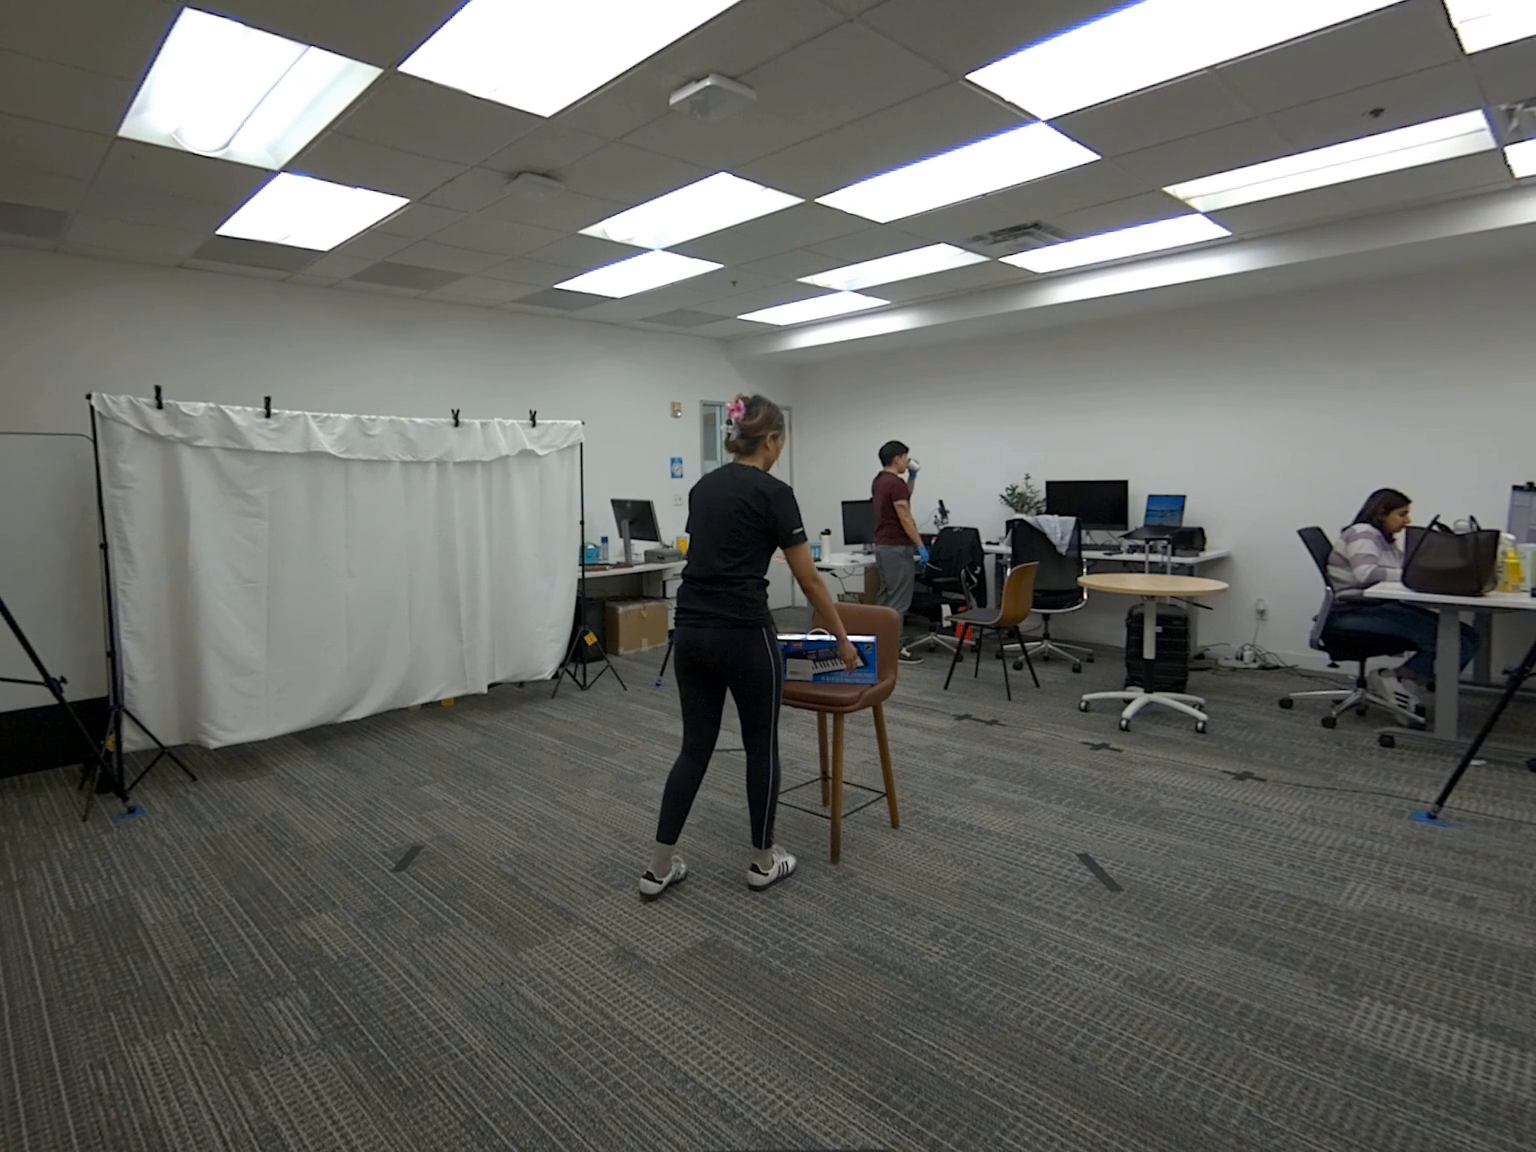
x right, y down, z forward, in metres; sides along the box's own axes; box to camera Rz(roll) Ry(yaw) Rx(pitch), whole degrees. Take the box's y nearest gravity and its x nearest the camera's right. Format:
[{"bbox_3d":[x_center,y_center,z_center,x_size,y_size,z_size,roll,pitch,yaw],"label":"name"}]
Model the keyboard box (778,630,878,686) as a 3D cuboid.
[{"bbox_3d":[0.201,0.313,3.289,0.443,0.174,0.059,0,10,16],"label":"keyboard box"}]
